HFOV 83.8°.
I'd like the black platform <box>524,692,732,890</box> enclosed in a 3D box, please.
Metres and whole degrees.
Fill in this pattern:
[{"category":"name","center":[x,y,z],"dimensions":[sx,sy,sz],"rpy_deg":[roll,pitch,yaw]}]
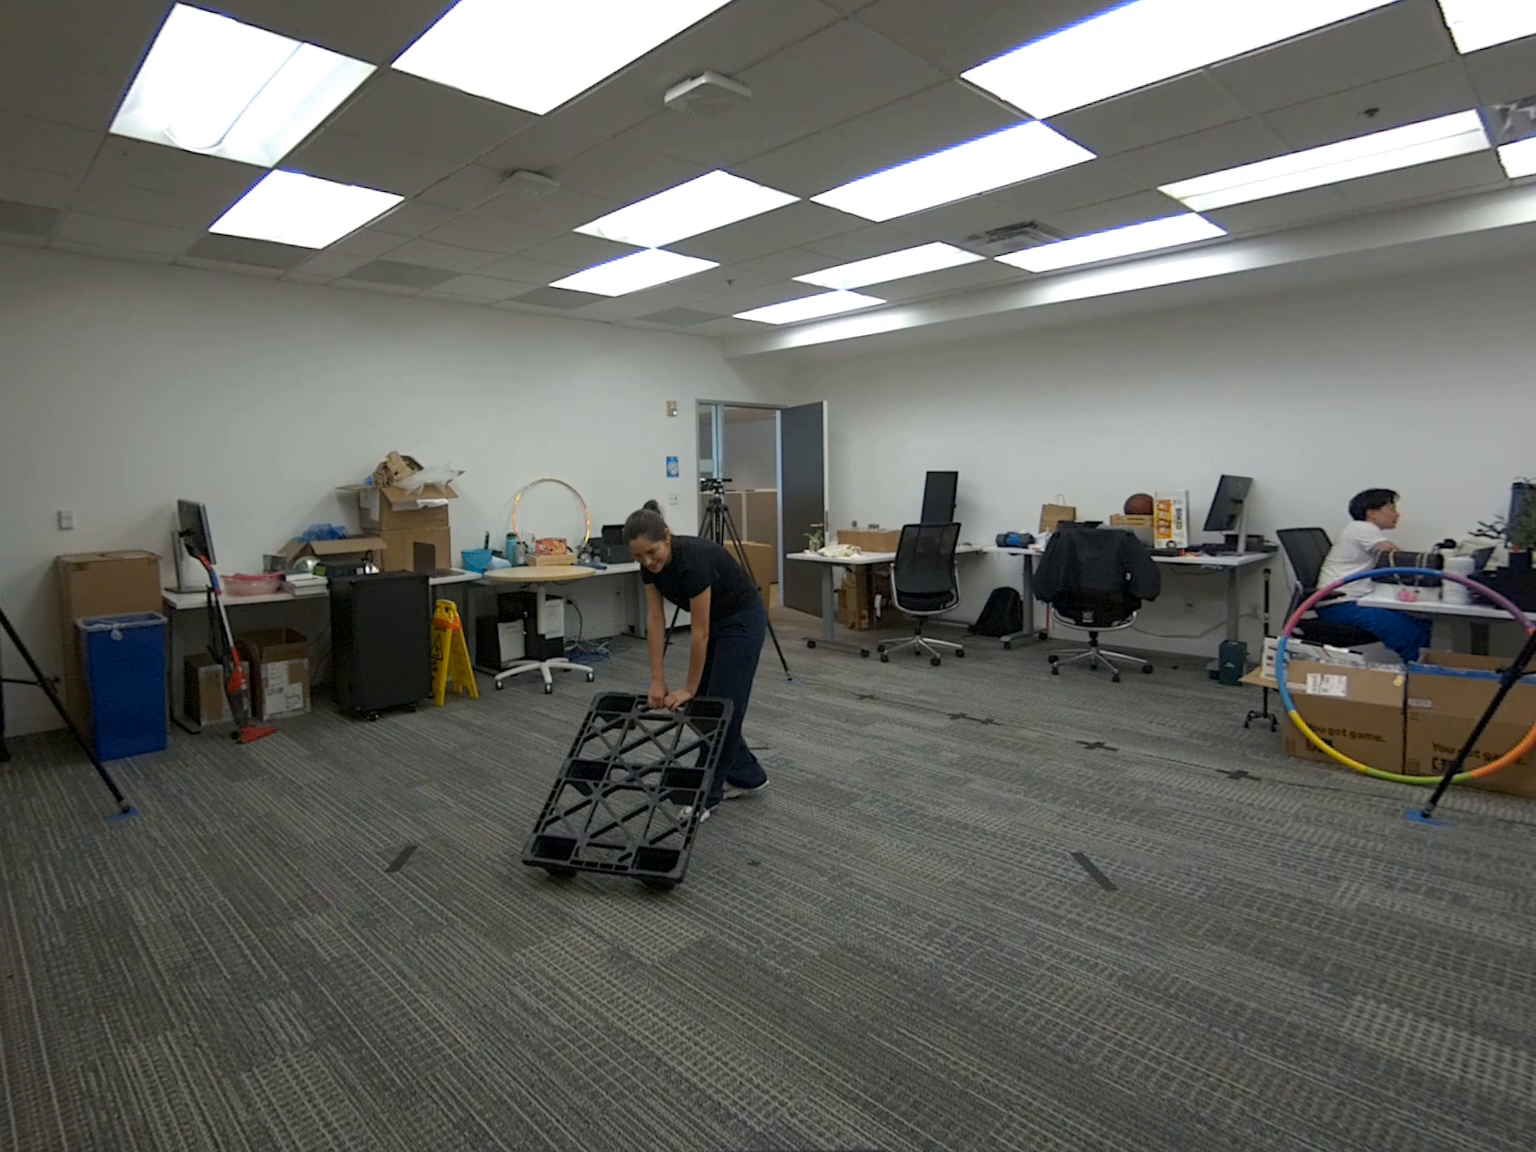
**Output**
[{"category":"black platform","center":[-0.491,0.783,3.241],"dimensions":[0.614,0.139,0.819],"rpy_deg":[0,38,14]}]
